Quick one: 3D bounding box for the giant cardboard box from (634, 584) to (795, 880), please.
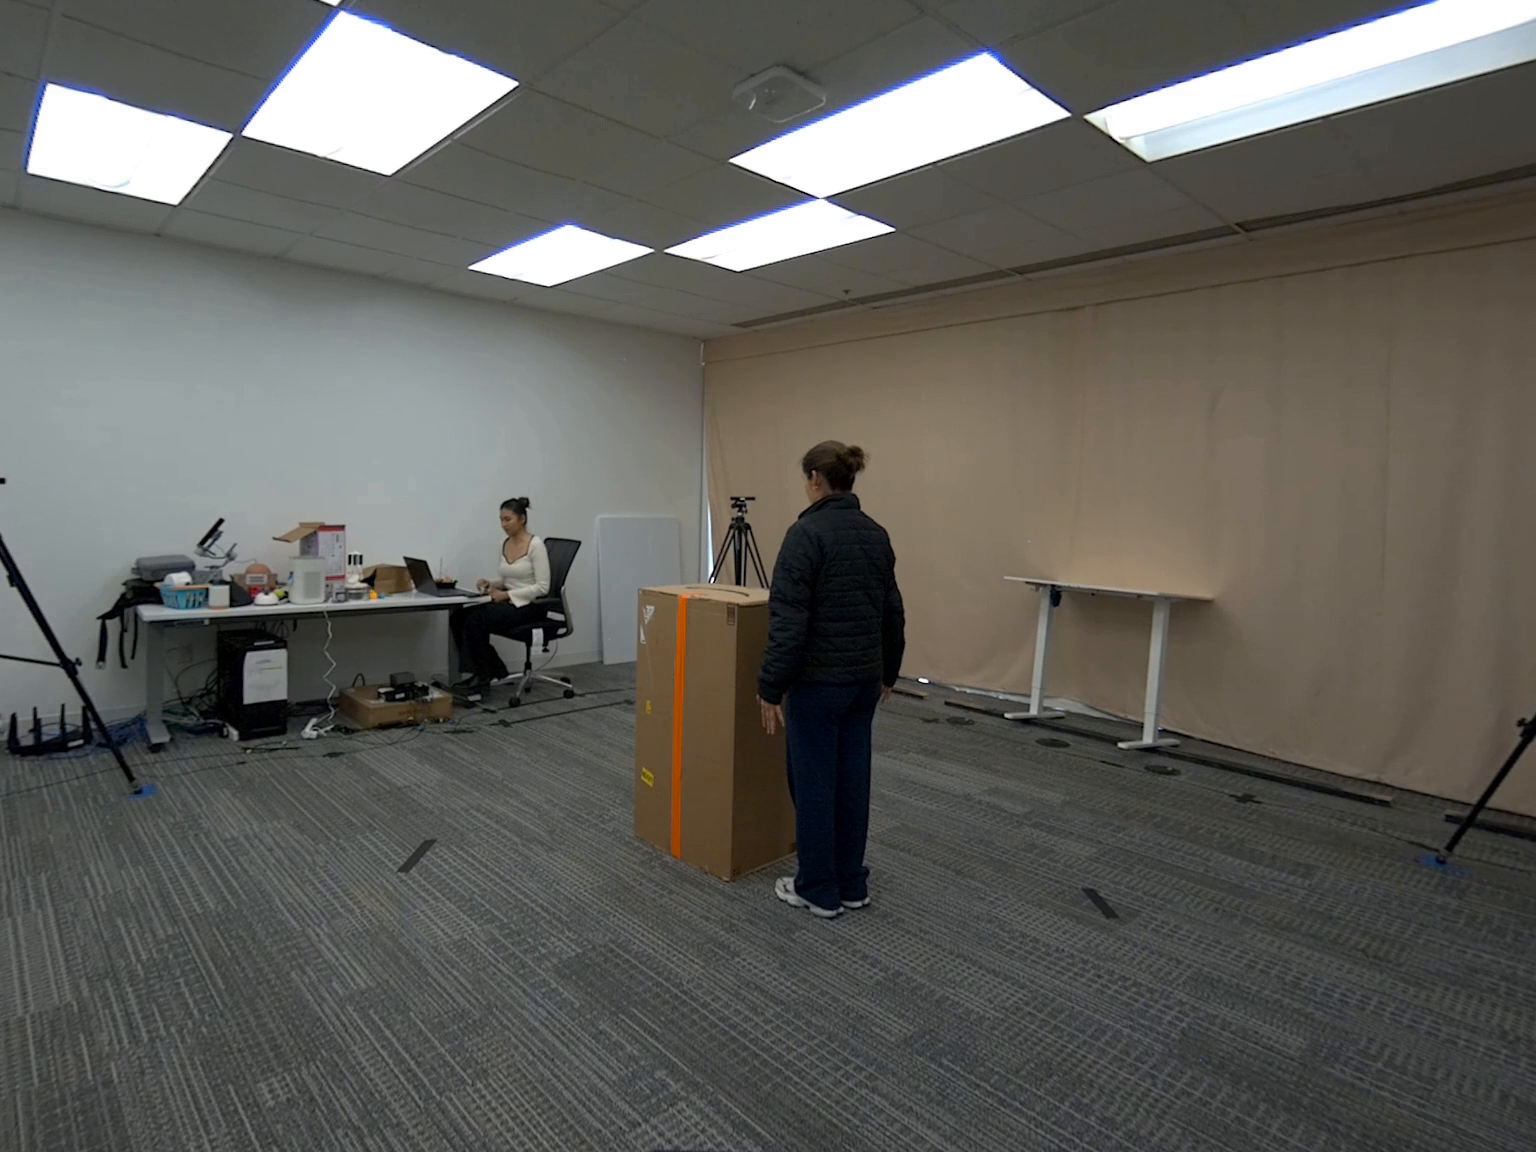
[{"bbox_3d":[-0.197,0.576,3.361,0.416,1.023,0.592,-2,5,-45],"label":"giant cardboard box"}]
